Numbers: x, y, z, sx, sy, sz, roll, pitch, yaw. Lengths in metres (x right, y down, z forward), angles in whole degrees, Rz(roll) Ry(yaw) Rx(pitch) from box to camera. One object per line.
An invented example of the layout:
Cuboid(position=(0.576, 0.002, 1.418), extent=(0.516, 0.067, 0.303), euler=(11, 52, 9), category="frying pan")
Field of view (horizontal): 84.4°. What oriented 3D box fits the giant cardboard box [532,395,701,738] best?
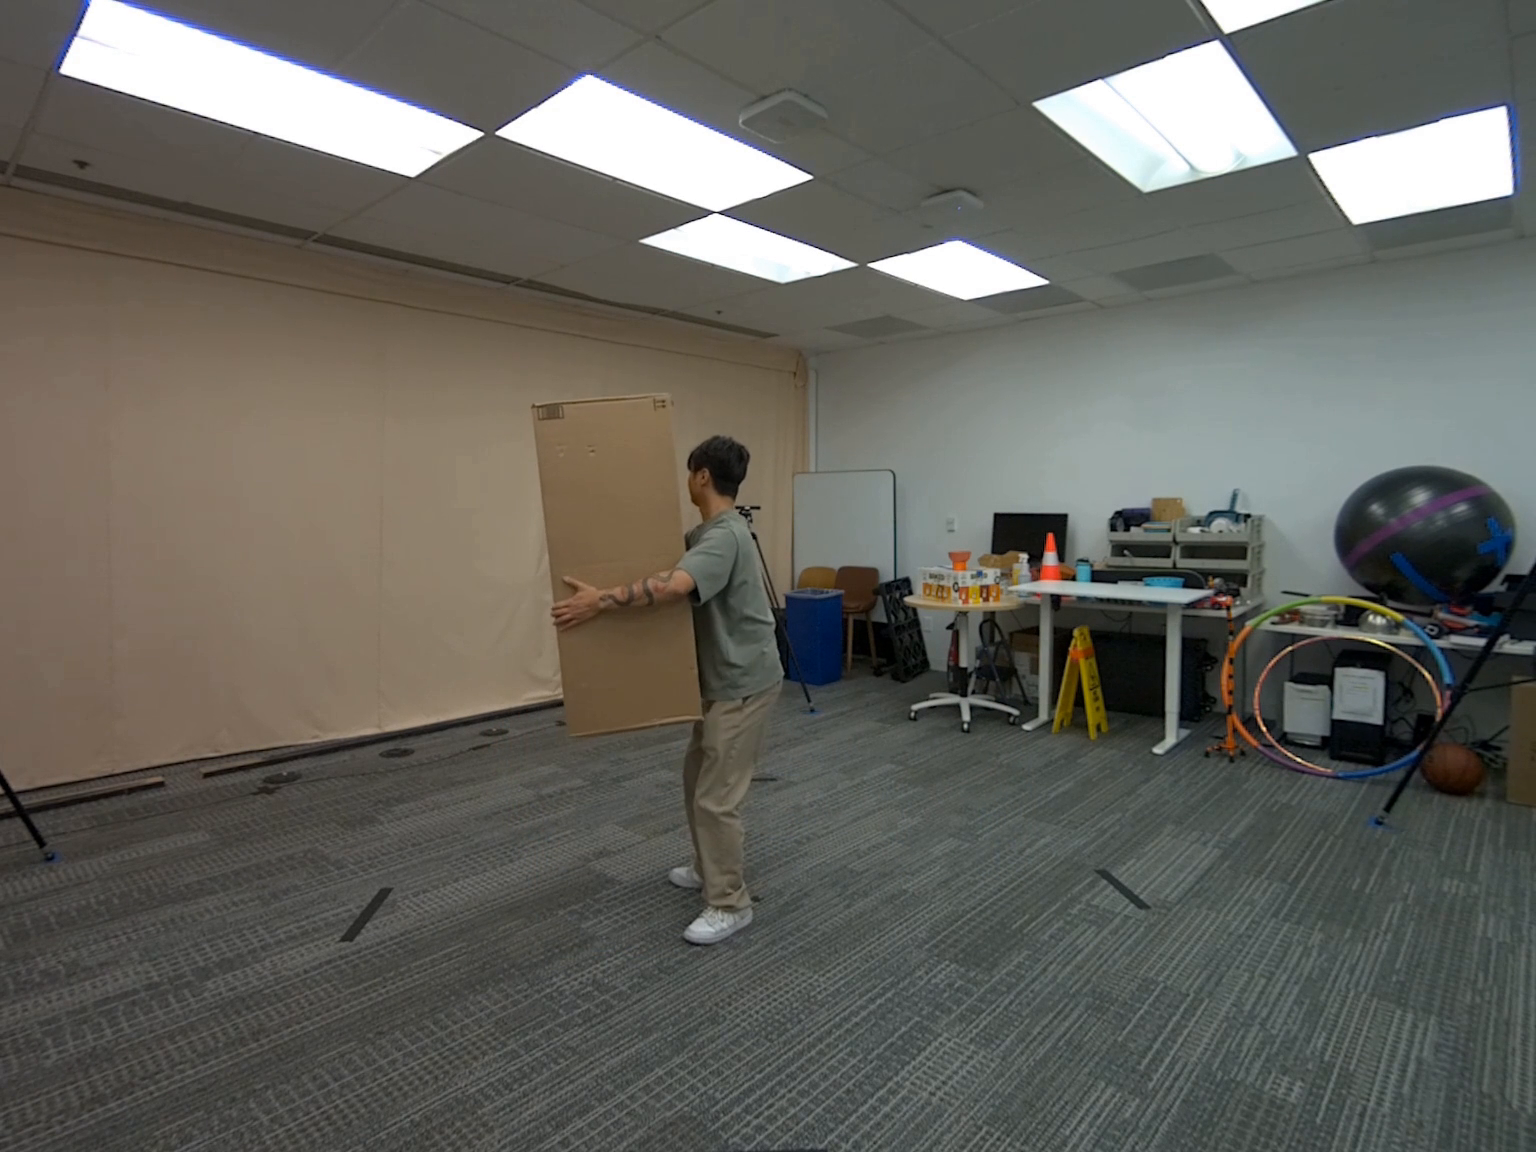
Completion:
Cuboid(position=(-0.528, -0.051, 2.847), extent=(0.422, 1.023, 0.585), euler=(-6, 4, -11), category="giant cardboard box")
